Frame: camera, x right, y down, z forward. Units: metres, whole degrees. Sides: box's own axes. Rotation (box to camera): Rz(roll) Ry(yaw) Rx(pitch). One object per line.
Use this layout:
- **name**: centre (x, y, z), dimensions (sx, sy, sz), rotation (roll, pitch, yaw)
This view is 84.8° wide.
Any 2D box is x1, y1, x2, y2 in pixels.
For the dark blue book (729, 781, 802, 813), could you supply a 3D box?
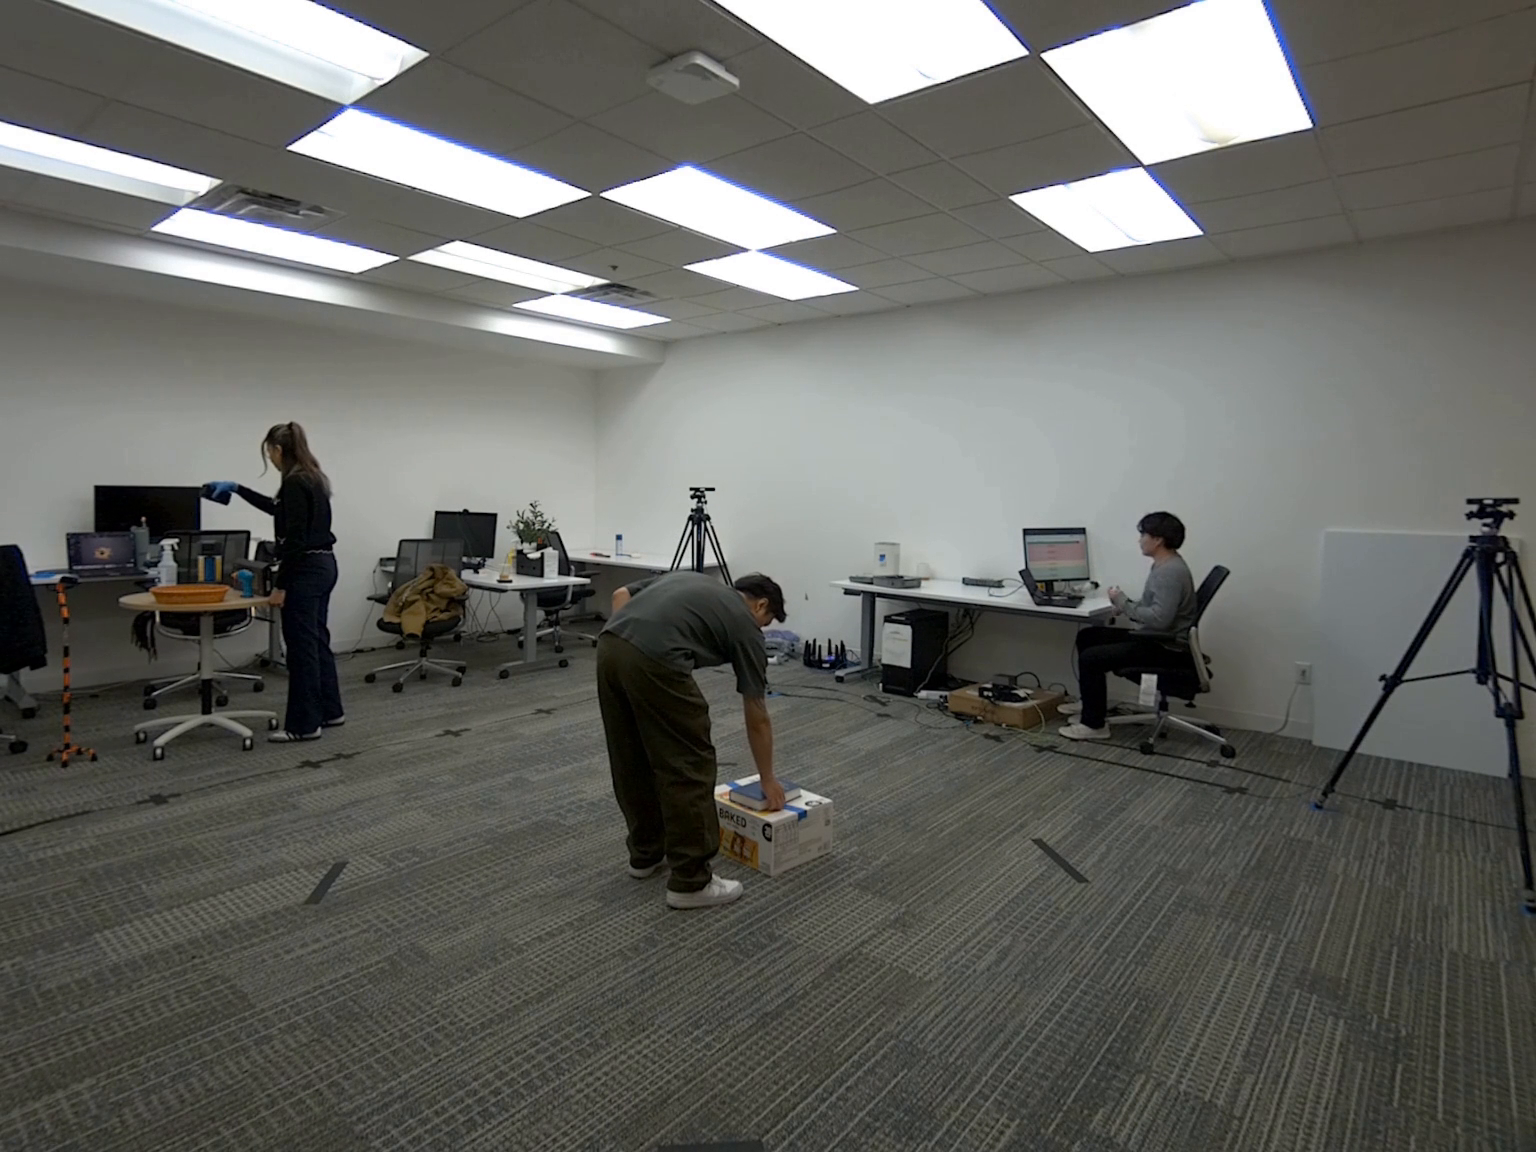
- **dark blue book**: centre (-0.011, 0.841, 3.297), dimensions (0.238, 0.045, 0.169), rotation (-5, 8, -44)
